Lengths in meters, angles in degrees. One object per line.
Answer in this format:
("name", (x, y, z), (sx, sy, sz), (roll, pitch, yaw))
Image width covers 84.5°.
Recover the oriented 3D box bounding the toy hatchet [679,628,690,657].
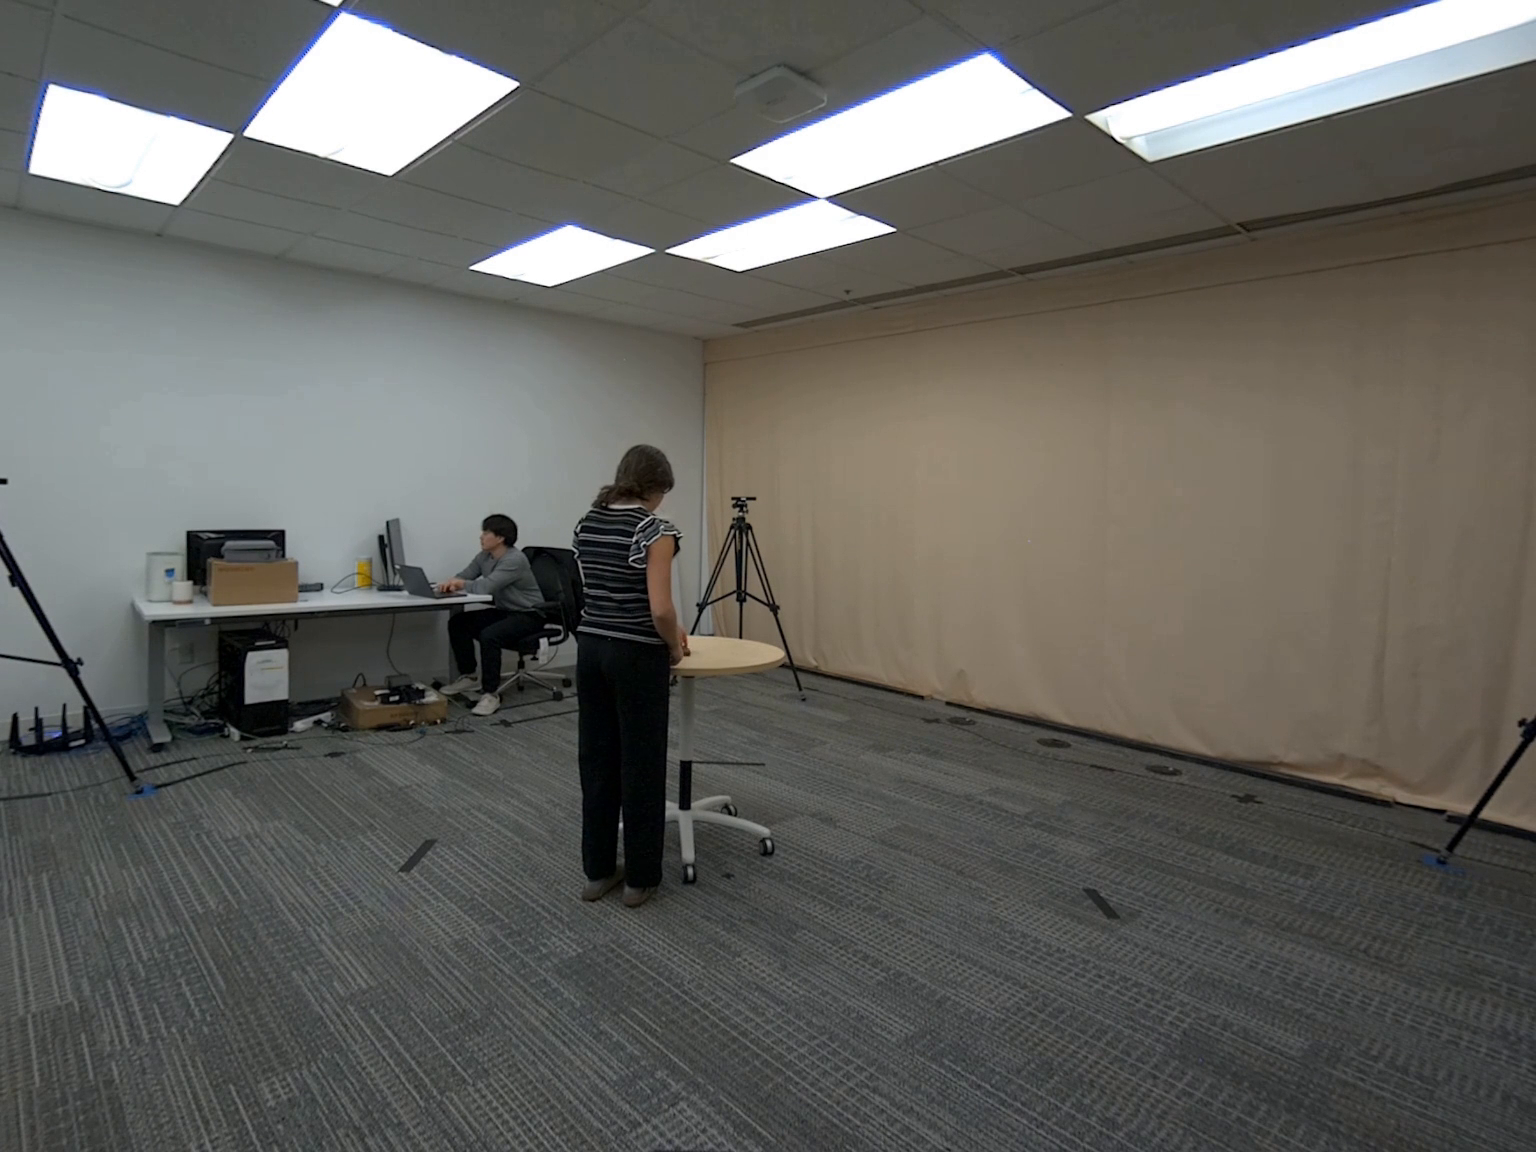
("toy hatchet", (-0.390, 0.282, 3.348), (0.130, 0.029, 0.272), (6, 5, -5))
